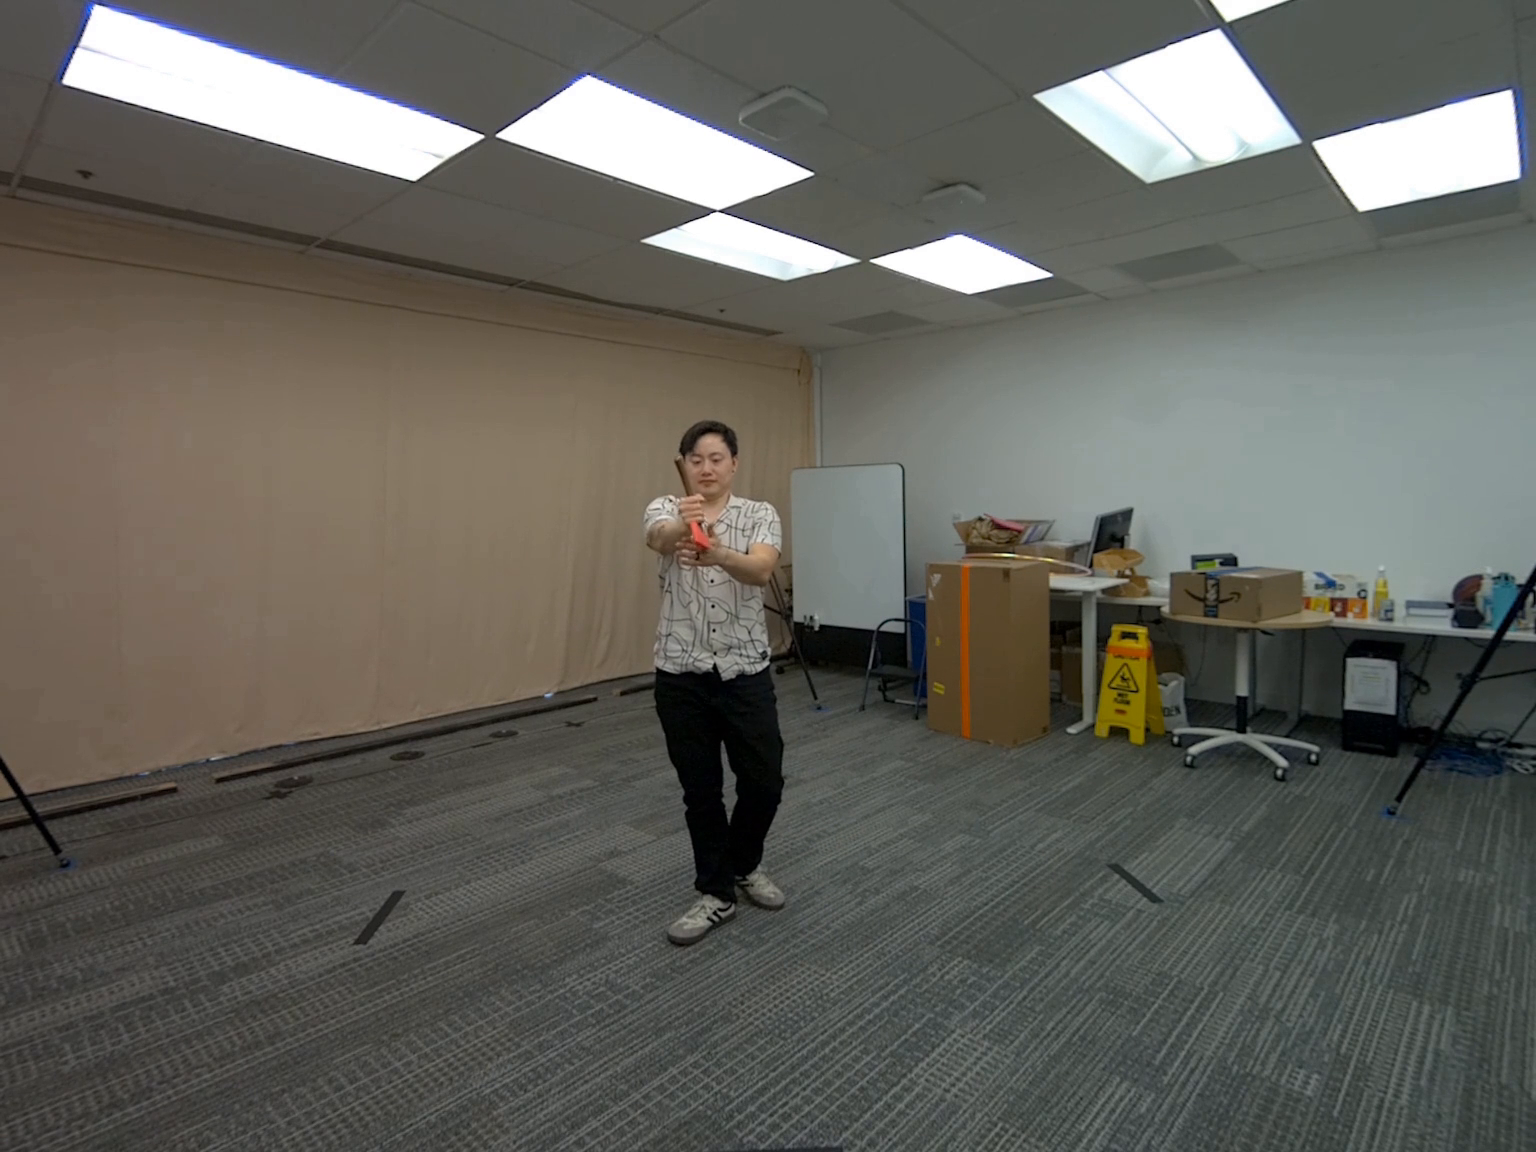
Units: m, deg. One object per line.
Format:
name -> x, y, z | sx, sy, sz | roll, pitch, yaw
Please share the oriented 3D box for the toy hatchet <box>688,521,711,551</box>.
toy hatchet -> -0.213, -0.185, 2.258 | 0.030, 0.268, 0.131 | -14, 10, 12
